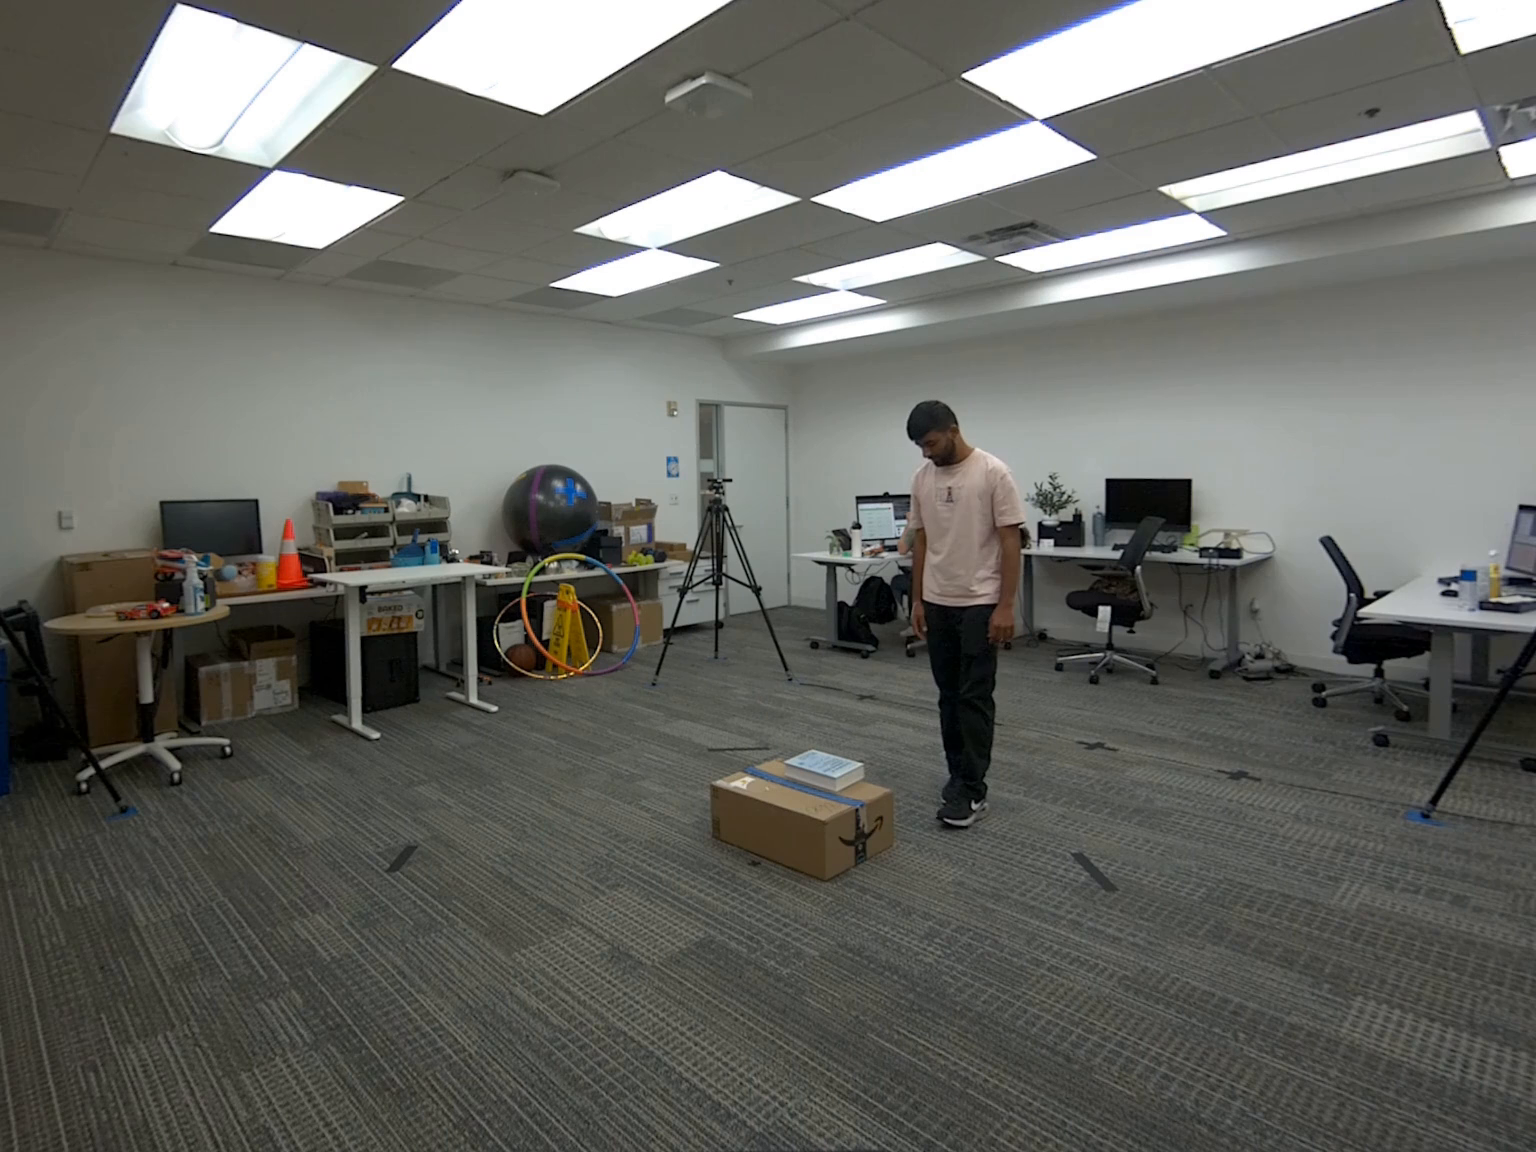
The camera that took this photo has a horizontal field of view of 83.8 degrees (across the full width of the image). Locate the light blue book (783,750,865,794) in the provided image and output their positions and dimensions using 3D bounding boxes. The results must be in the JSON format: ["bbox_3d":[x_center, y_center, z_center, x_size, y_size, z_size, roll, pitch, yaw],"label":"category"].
[{"bbox_3d":[0.226,0.766,3.381,0.269,0.058,0.187,5,11,43],"label":"light blue book"}]
